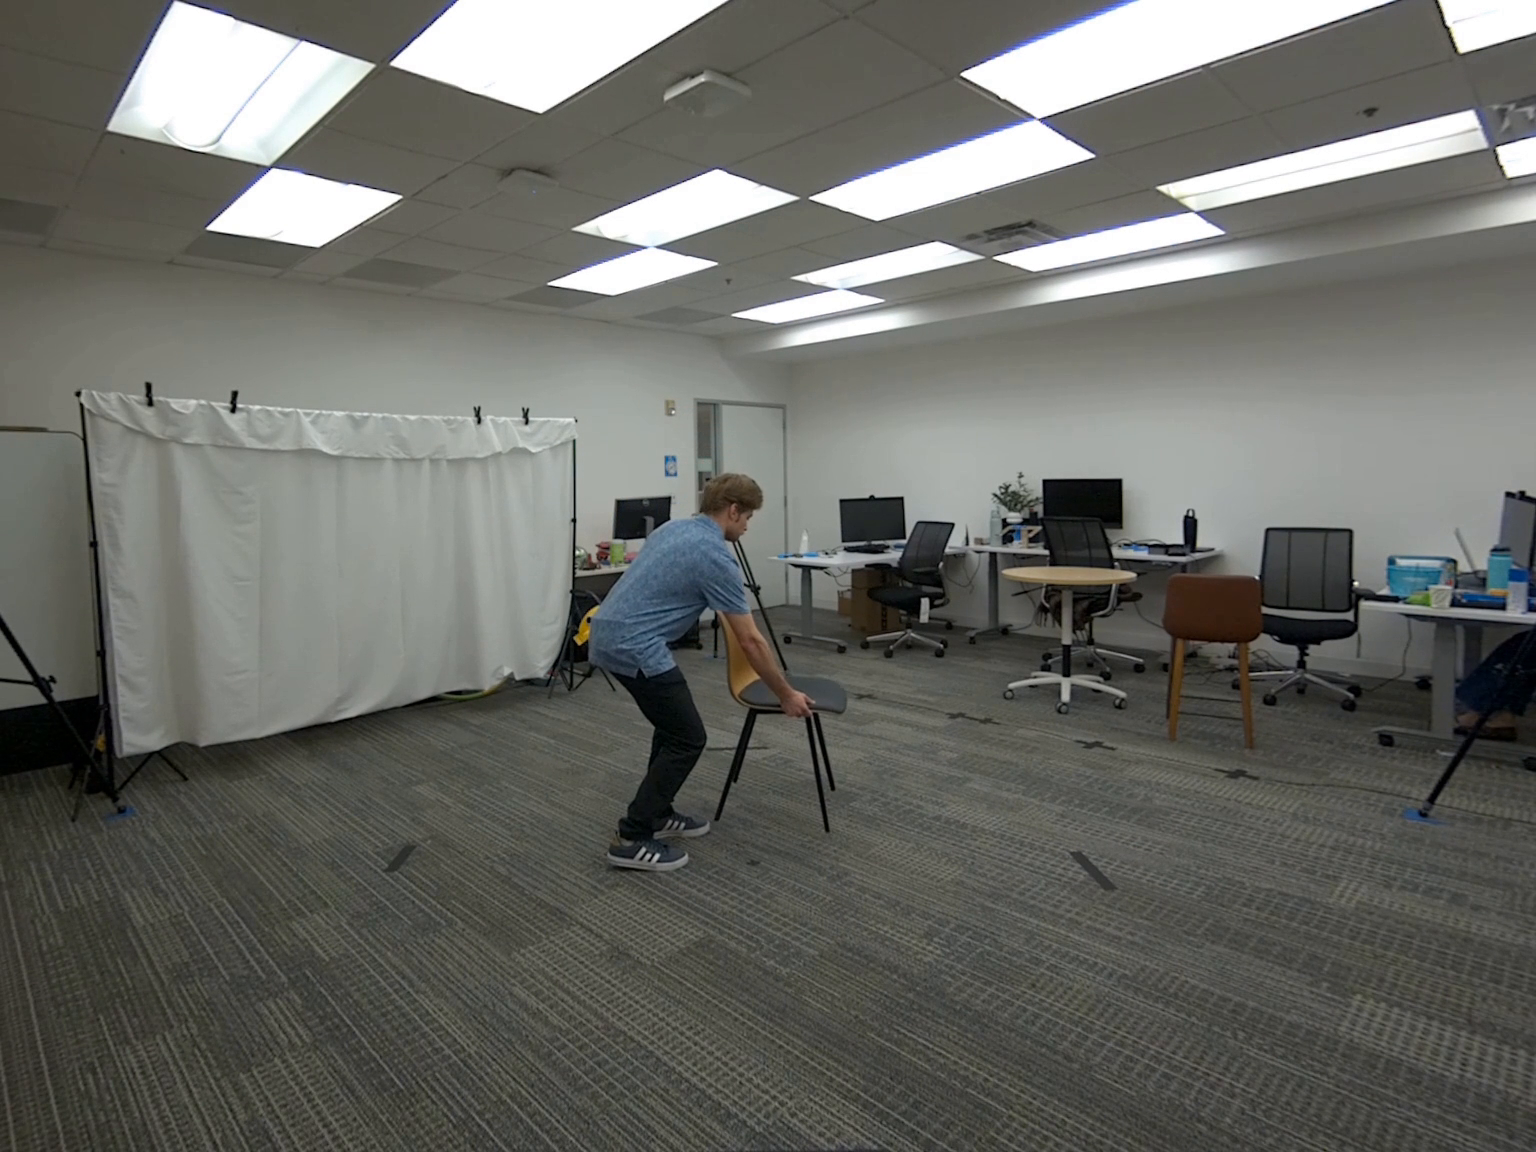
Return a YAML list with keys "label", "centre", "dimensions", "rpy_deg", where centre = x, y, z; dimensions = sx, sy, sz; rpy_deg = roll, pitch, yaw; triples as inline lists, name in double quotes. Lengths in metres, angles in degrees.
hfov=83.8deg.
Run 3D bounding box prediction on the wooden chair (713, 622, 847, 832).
- label: "wooden chair"
  centre: [0.064, 0.530, 3.525]
  dimensions: [0.528, 0.874, 0.475]
  rpy_deg: [-2, 4, 10]
